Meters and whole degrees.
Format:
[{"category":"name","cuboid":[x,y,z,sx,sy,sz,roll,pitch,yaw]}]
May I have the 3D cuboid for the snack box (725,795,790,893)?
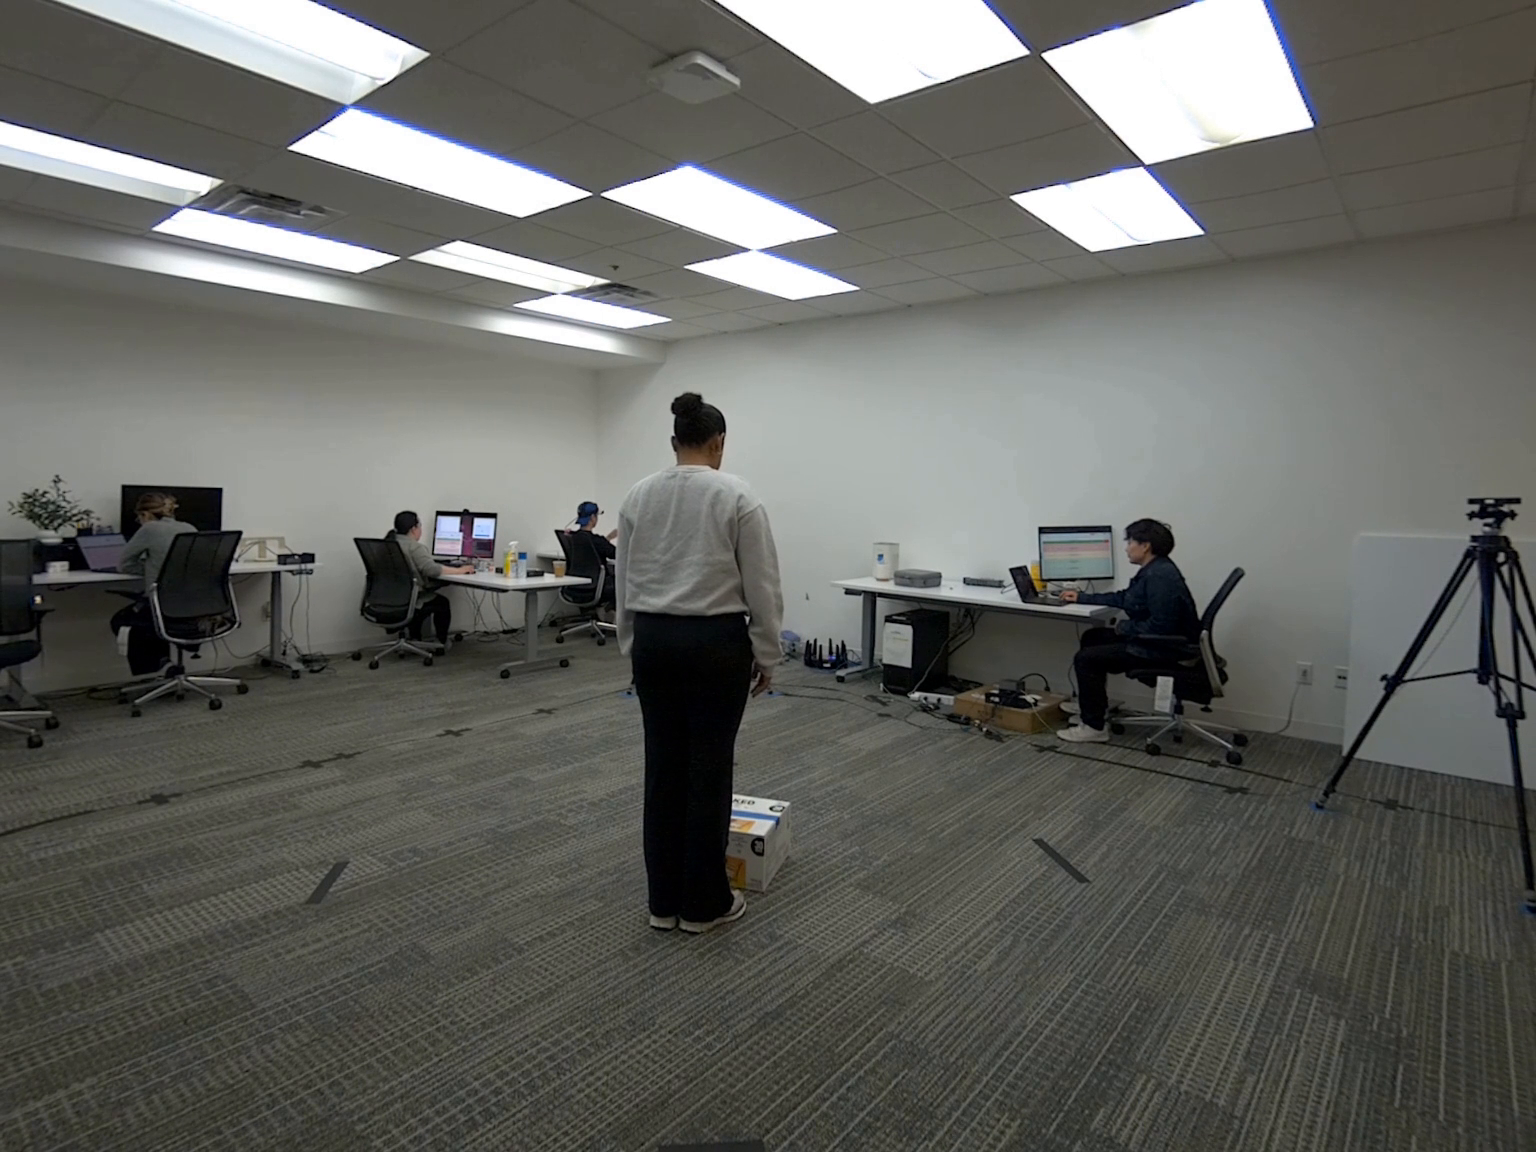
[{"category":"snack box","cuboid":[-0.165,0.963,3.143,0.413,0.205,0.335,2,6,19]}]
